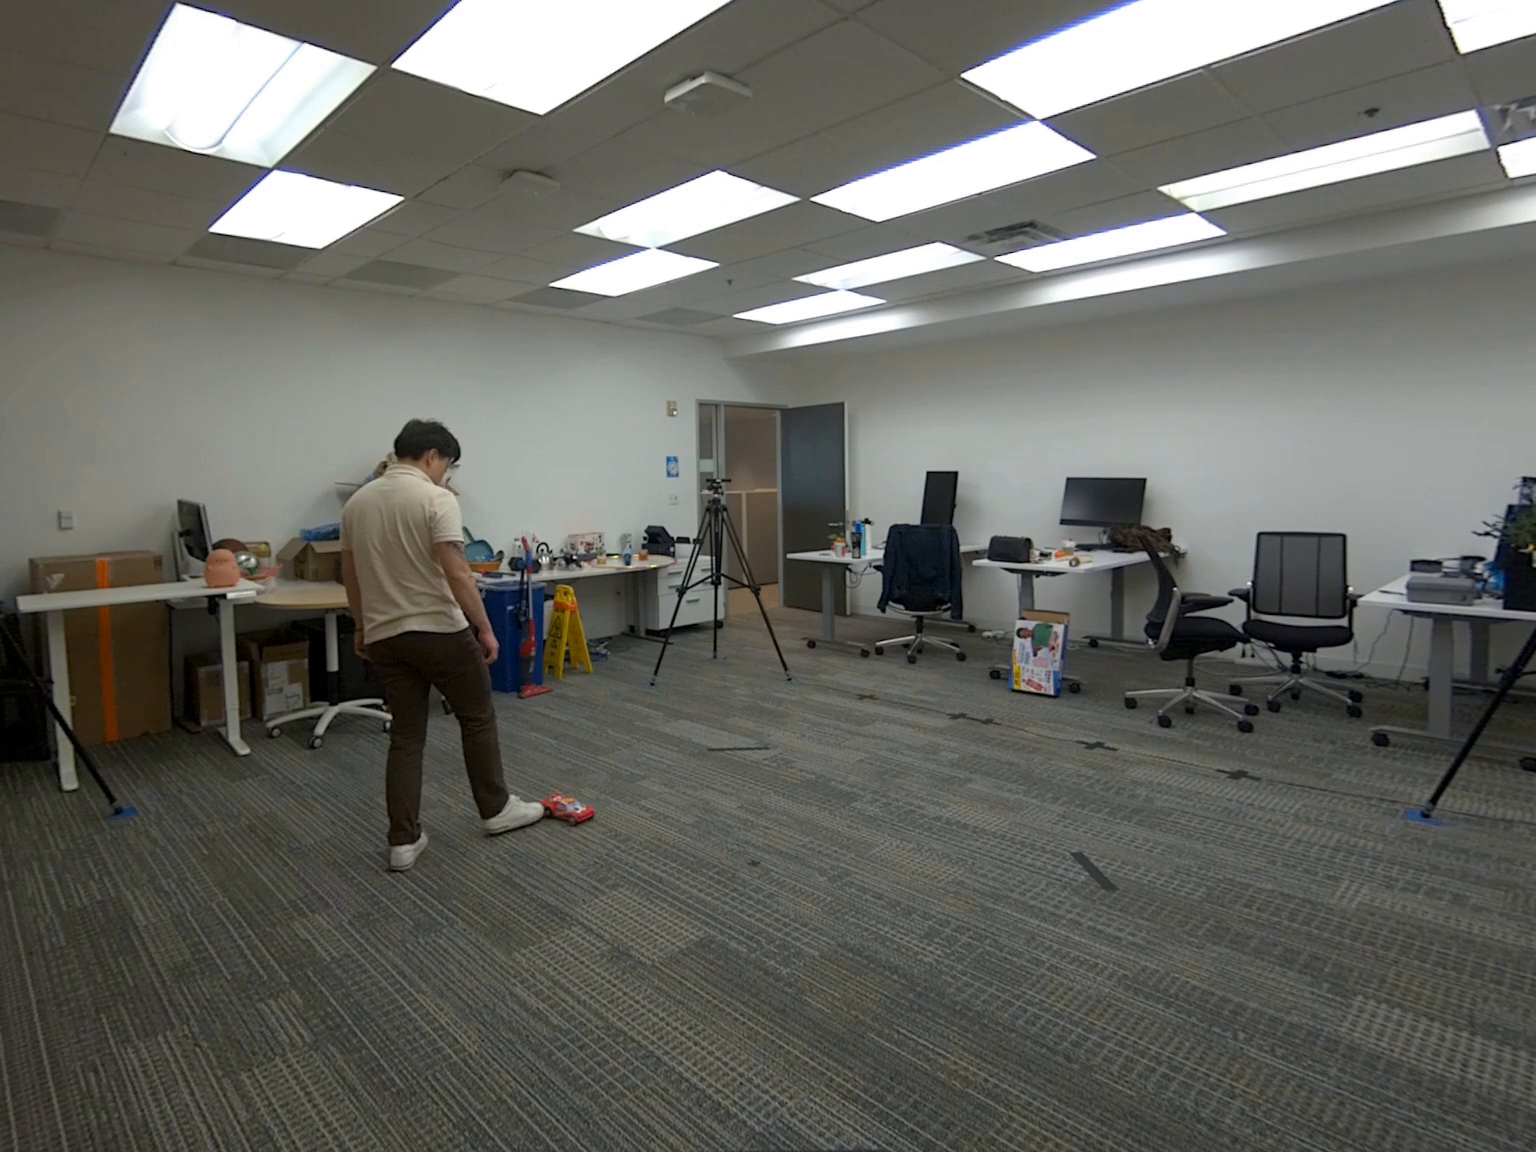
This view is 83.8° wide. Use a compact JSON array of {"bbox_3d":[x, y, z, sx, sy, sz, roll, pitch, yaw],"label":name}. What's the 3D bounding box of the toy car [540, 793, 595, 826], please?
[{"bbox_3d":[-0.851,0.978,3.569,0.263,0.082,0.127,16,14,33],"label":"toy car"}]
